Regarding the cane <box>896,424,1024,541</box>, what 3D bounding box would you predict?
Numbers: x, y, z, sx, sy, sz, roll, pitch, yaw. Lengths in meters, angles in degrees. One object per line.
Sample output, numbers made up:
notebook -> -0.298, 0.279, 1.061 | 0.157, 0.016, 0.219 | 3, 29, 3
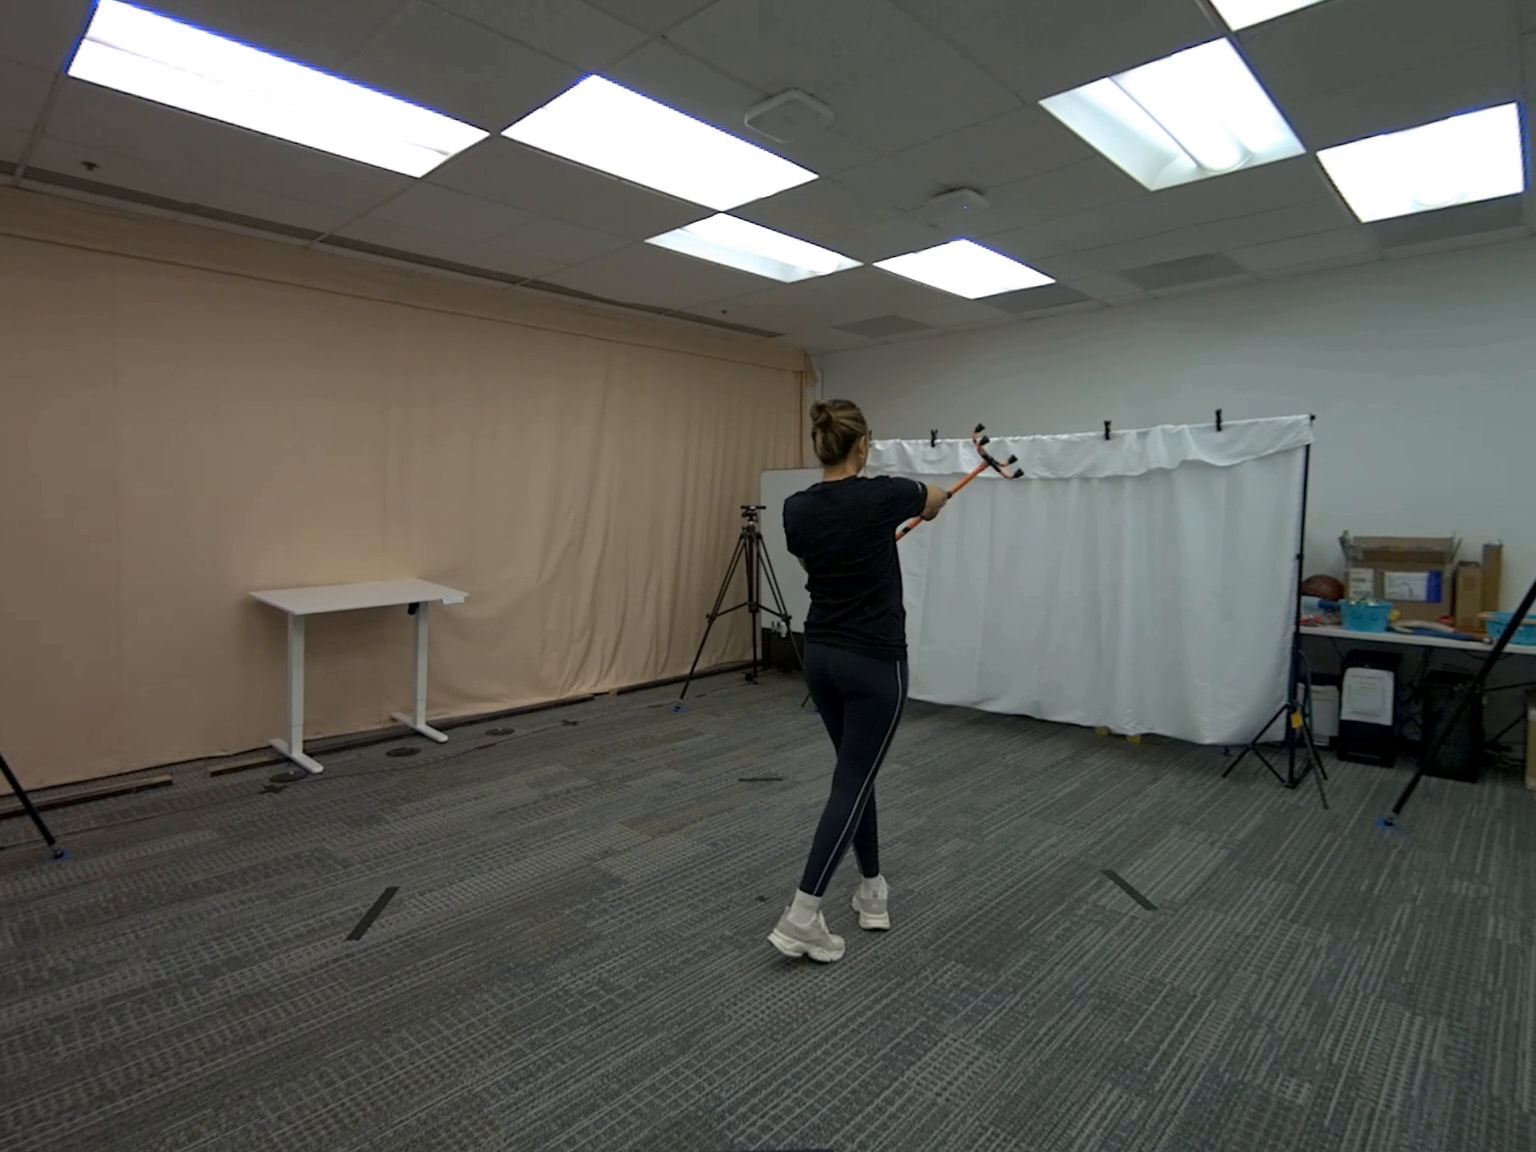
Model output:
cane -> 0.523, -0.169, 3.168 | 0.915, 0.203, 0.153 | -43, 15, 25
